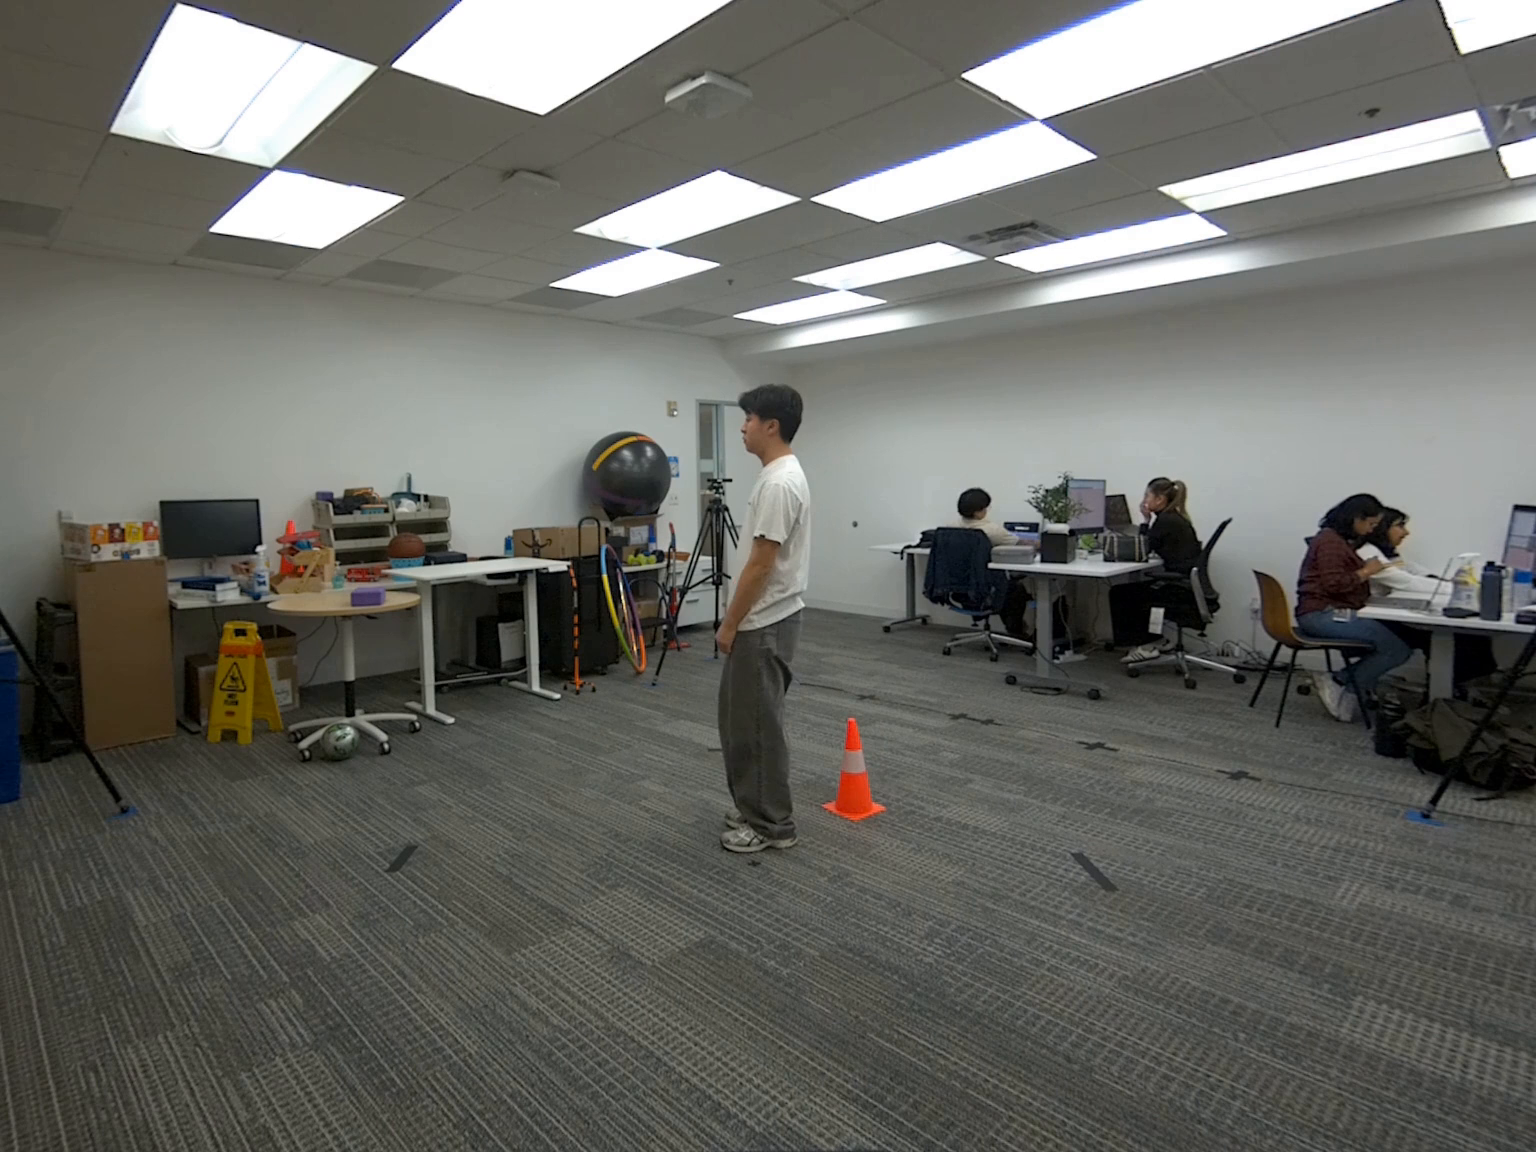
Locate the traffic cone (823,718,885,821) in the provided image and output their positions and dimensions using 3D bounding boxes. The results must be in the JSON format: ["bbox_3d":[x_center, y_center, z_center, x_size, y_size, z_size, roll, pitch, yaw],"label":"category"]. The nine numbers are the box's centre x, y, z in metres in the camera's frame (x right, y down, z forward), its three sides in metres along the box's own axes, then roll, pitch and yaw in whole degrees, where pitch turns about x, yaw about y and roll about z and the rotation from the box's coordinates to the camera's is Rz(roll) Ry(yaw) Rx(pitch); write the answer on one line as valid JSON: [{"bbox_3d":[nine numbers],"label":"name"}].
[{"bbox_3d":[0.353,0.798,3.609,0.200,0.382,0.209,-4,5,-34],"label":"traffic cone"}]
